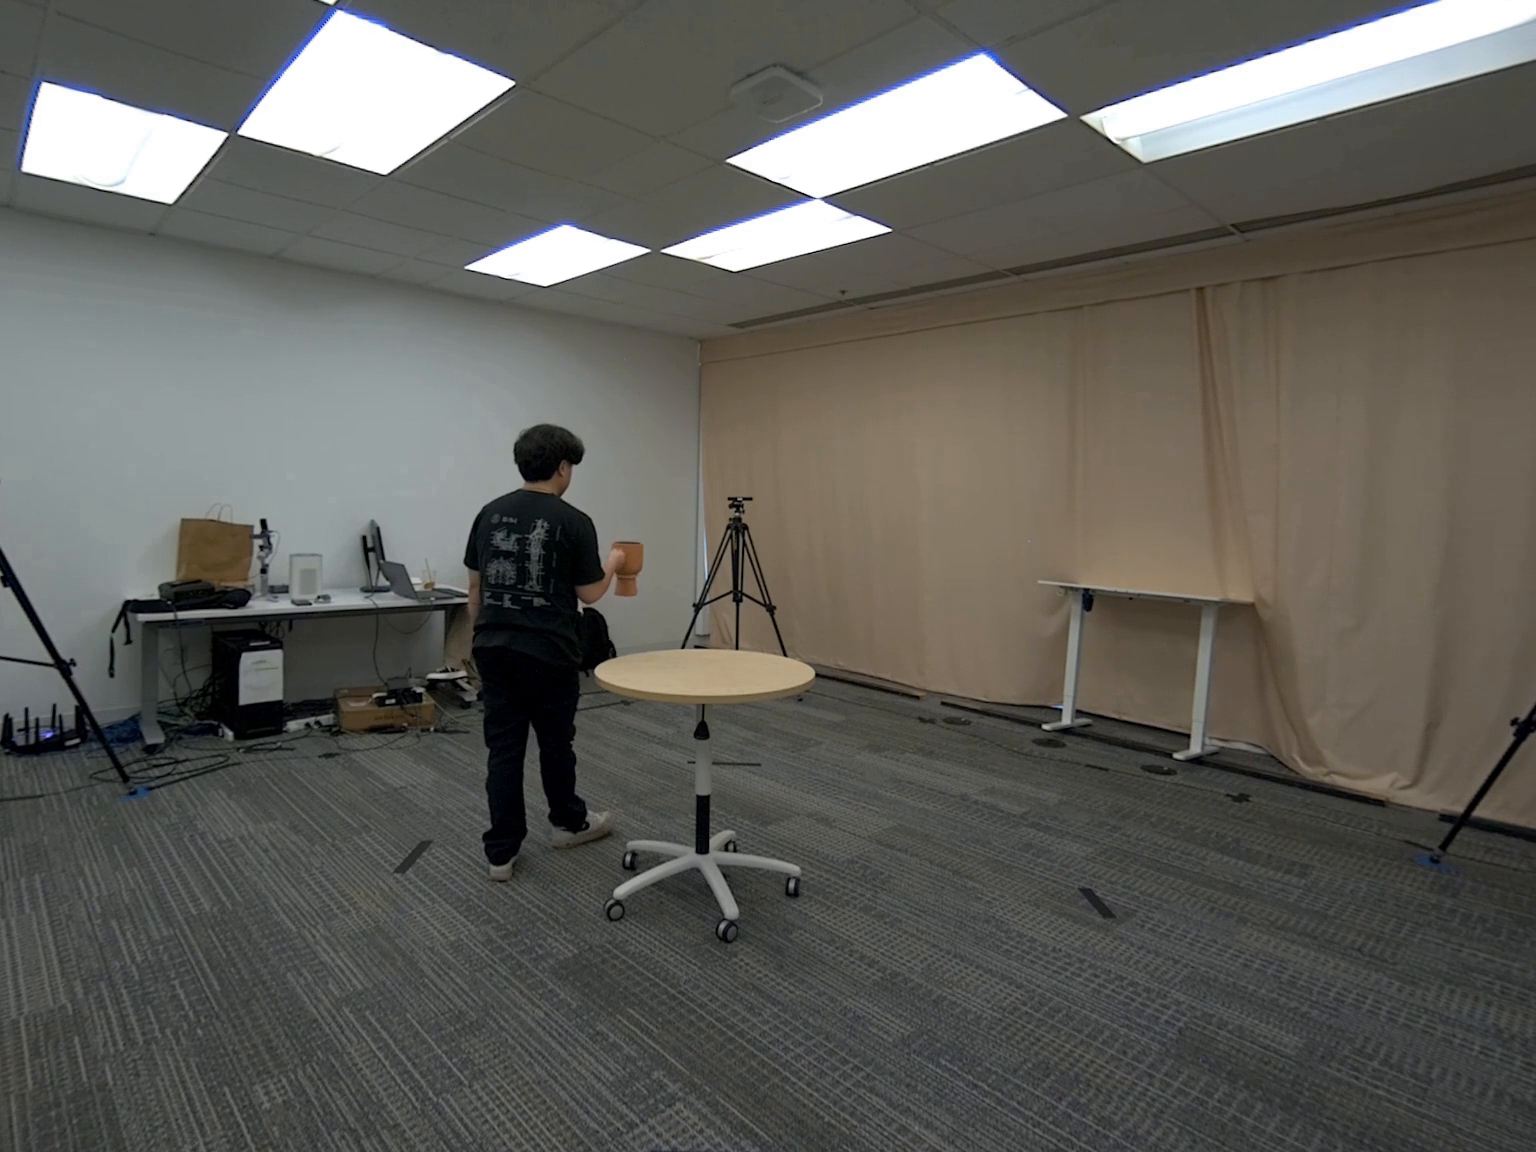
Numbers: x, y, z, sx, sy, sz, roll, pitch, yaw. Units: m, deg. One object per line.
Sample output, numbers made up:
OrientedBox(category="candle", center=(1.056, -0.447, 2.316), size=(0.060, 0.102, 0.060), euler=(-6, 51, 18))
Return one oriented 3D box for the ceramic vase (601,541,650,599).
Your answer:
OrientedBox(category="ceramic vase", center=(-0.601, -0.031, 3.543), size=(0.155, 0.219, 0.138), euler=(-2, 6, -35))
